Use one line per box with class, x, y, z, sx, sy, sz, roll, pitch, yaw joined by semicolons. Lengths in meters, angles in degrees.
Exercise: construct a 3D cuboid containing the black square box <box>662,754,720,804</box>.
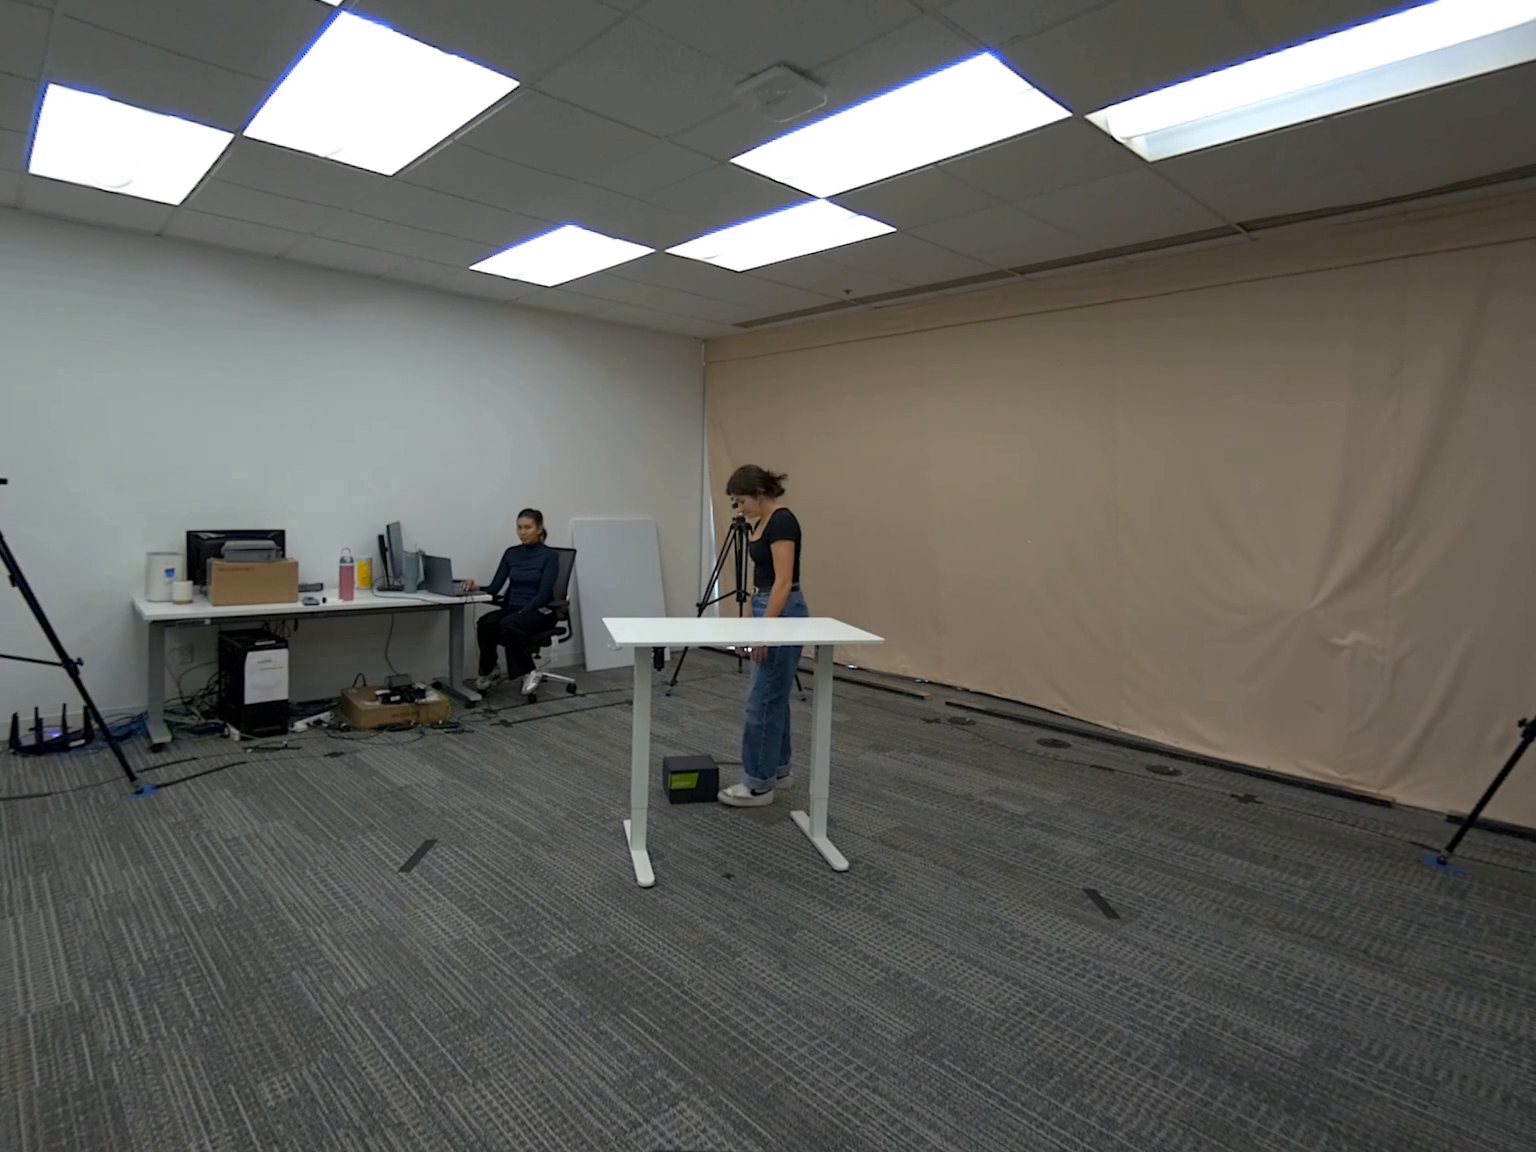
black square box;-0.371;0.944;3.946;0.225;0.155;0.220;0;5;-15
